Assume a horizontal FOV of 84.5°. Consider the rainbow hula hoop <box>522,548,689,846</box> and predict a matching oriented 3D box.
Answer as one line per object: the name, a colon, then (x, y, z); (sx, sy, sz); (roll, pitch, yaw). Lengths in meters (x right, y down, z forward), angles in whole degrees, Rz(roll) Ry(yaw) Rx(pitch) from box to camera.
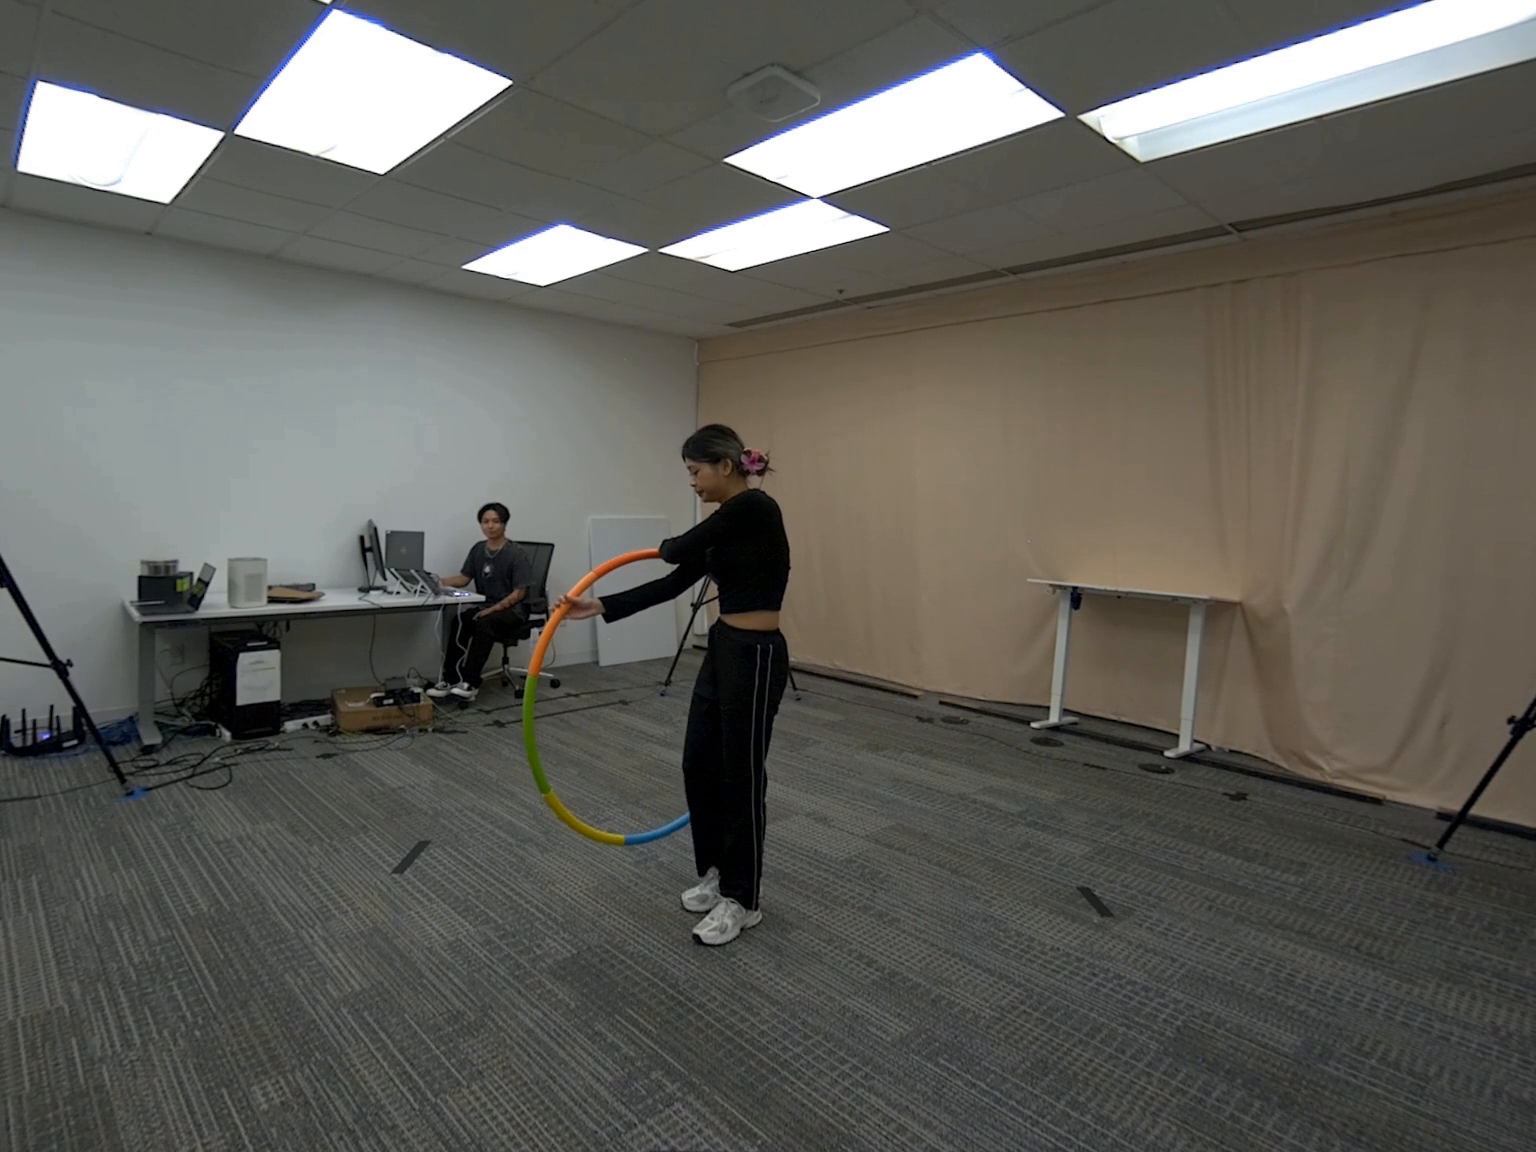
rainbow hula hoop: (-0.381, 0.400, 2.842); (0.956, 0.976, 0.036); (-2, 5, -43)
